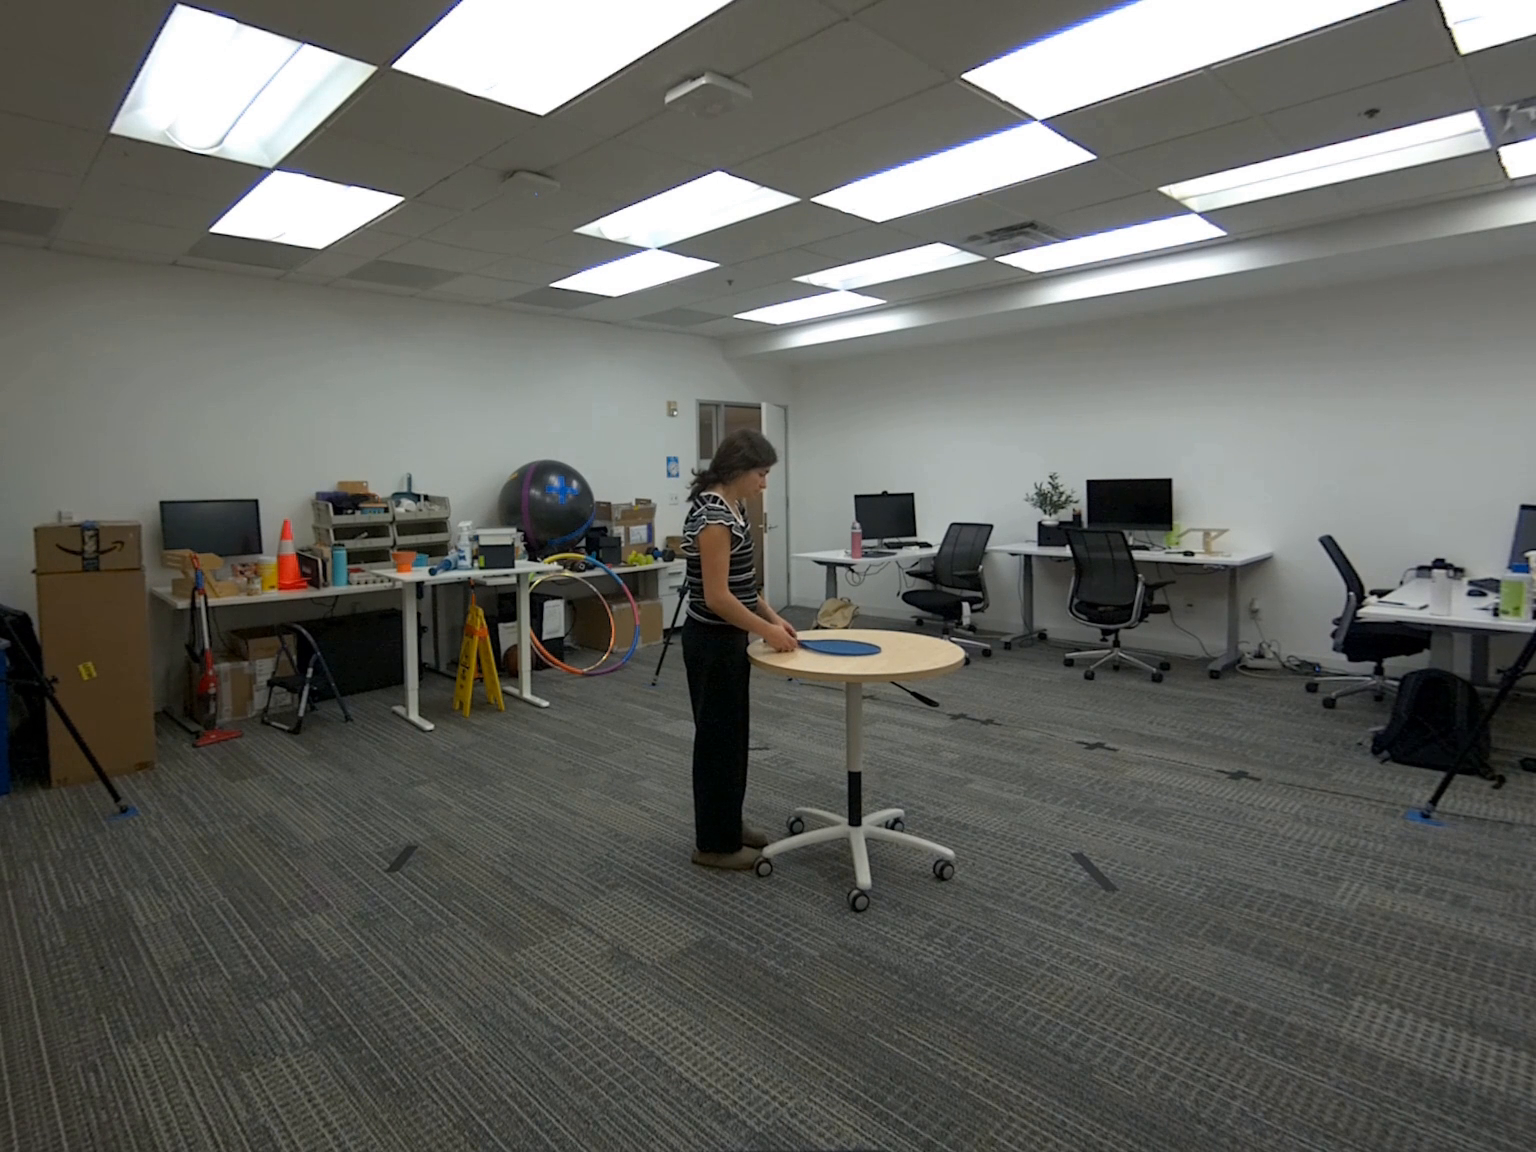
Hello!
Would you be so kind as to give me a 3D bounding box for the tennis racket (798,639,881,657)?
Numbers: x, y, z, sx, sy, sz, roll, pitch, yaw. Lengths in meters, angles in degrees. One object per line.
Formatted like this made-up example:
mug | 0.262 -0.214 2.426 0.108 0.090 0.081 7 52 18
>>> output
tennis racket | 0.197 0.247 3.075 0.442 0.031 0.210 4 8 23
